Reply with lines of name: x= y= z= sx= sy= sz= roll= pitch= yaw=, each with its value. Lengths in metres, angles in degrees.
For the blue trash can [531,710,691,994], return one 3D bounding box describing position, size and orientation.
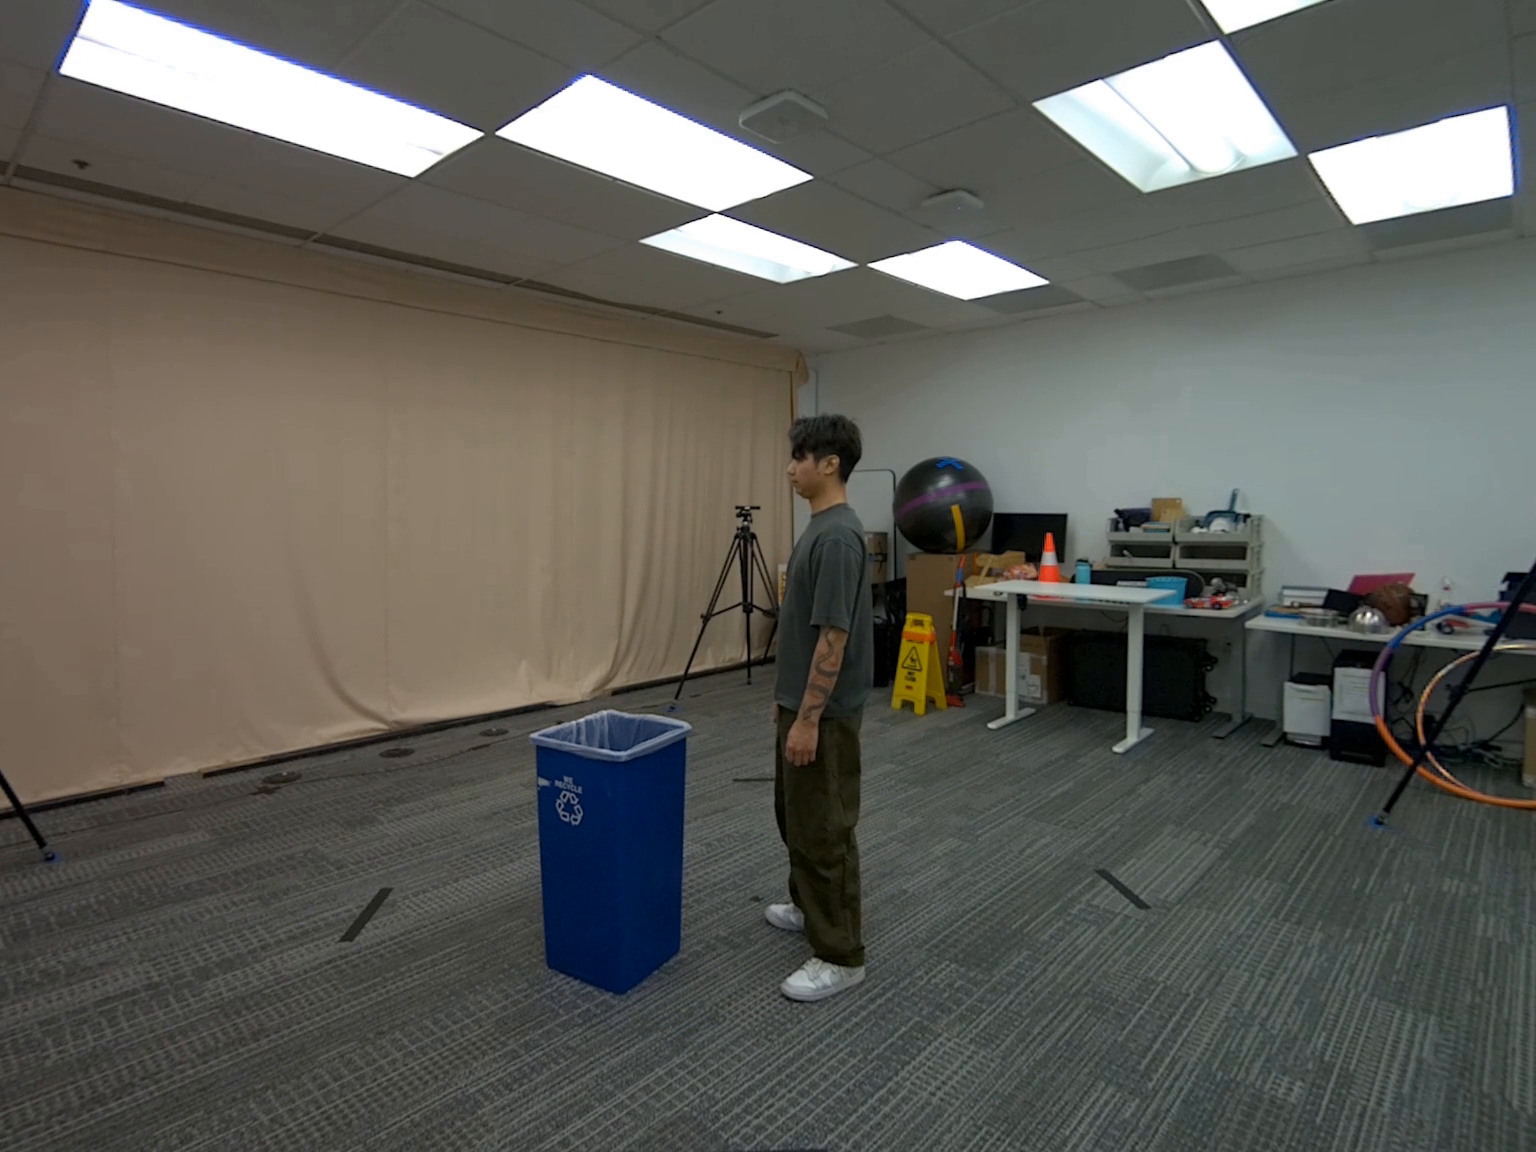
blue trash can: x=-0.475 y=0.825 z=2.587 sx=0.389 sy=0.712 sz=0.364 roll=2 pitch=5 yaw=30
